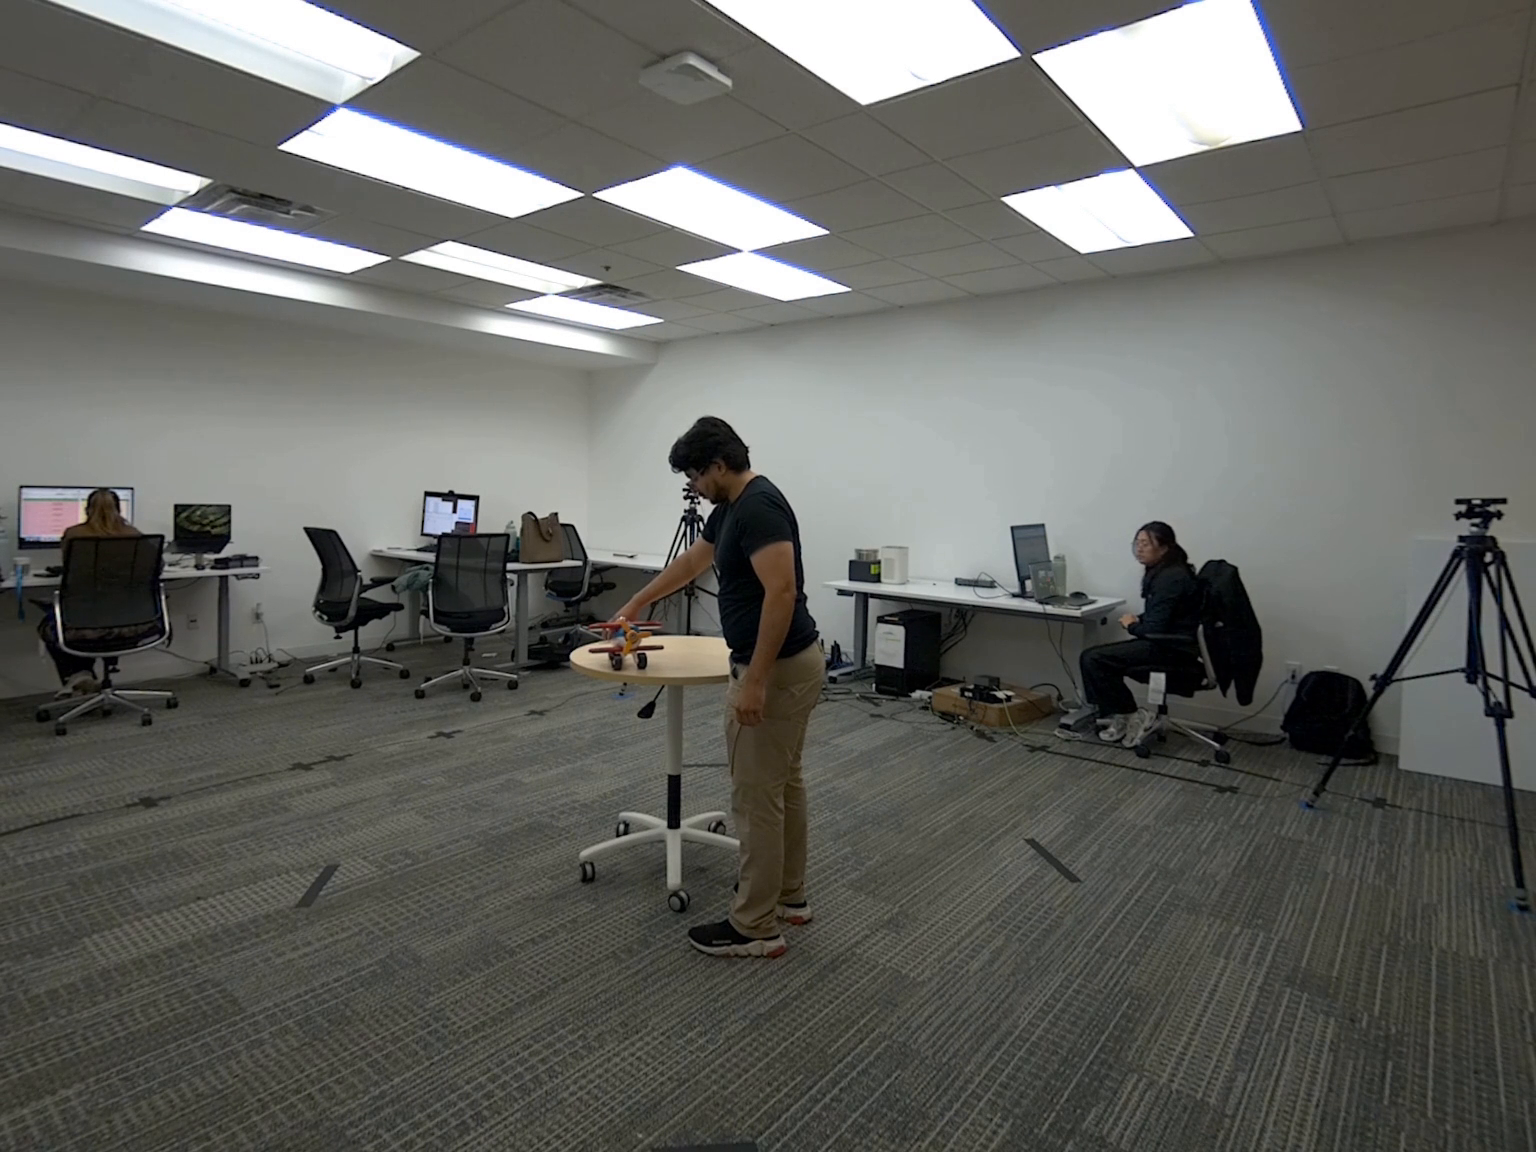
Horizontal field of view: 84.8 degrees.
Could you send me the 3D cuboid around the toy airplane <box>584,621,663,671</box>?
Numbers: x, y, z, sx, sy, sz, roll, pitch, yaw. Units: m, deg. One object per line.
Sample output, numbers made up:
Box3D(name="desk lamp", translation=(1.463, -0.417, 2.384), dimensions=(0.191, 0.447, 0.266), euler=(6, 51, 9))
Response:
Box3D(name="toy airplane", translation=(-0.517, 0.226, 2.908), dimensions=(0.268, 0.156, 0.244), euler=(6, 7, 41))
